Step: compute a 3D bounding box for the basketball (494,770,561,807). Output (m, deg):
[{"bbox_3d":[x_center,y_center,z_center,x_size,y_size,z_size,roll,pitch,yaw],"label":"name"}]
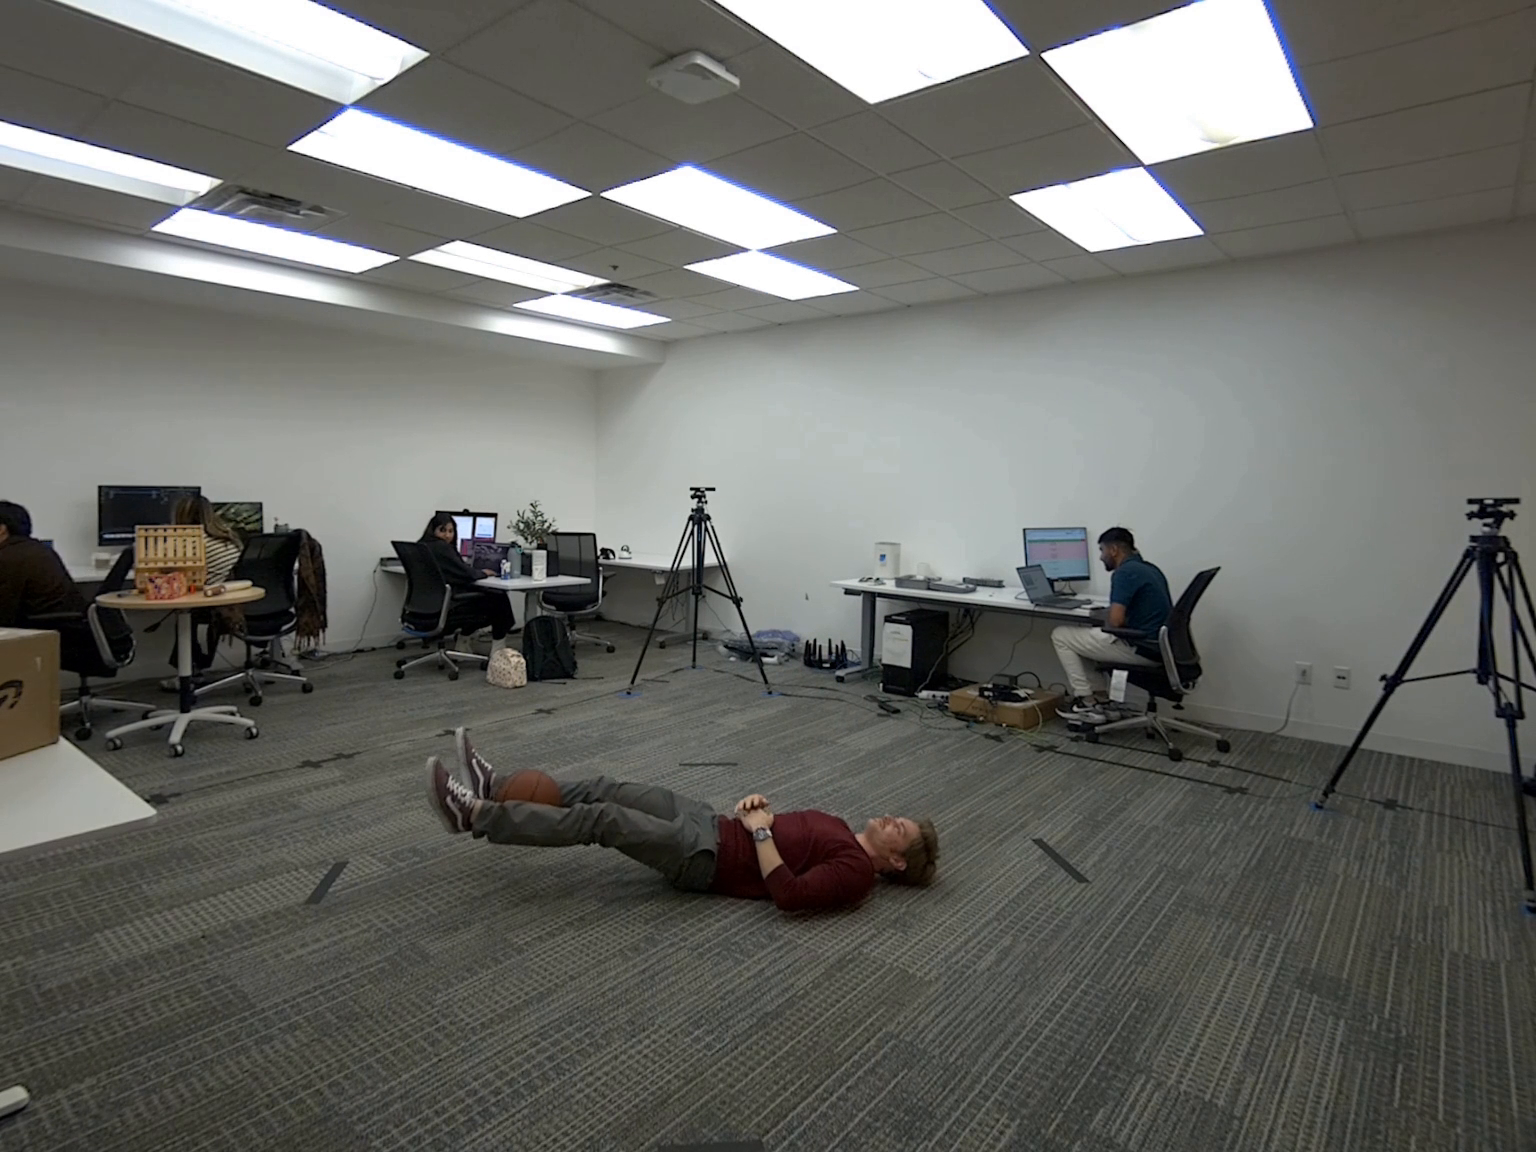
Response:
[{"bbox_3d":[-0.842,0.785,2.980,0.235,0.235,0.237,1,4,-2],"label":"basketball"}]
